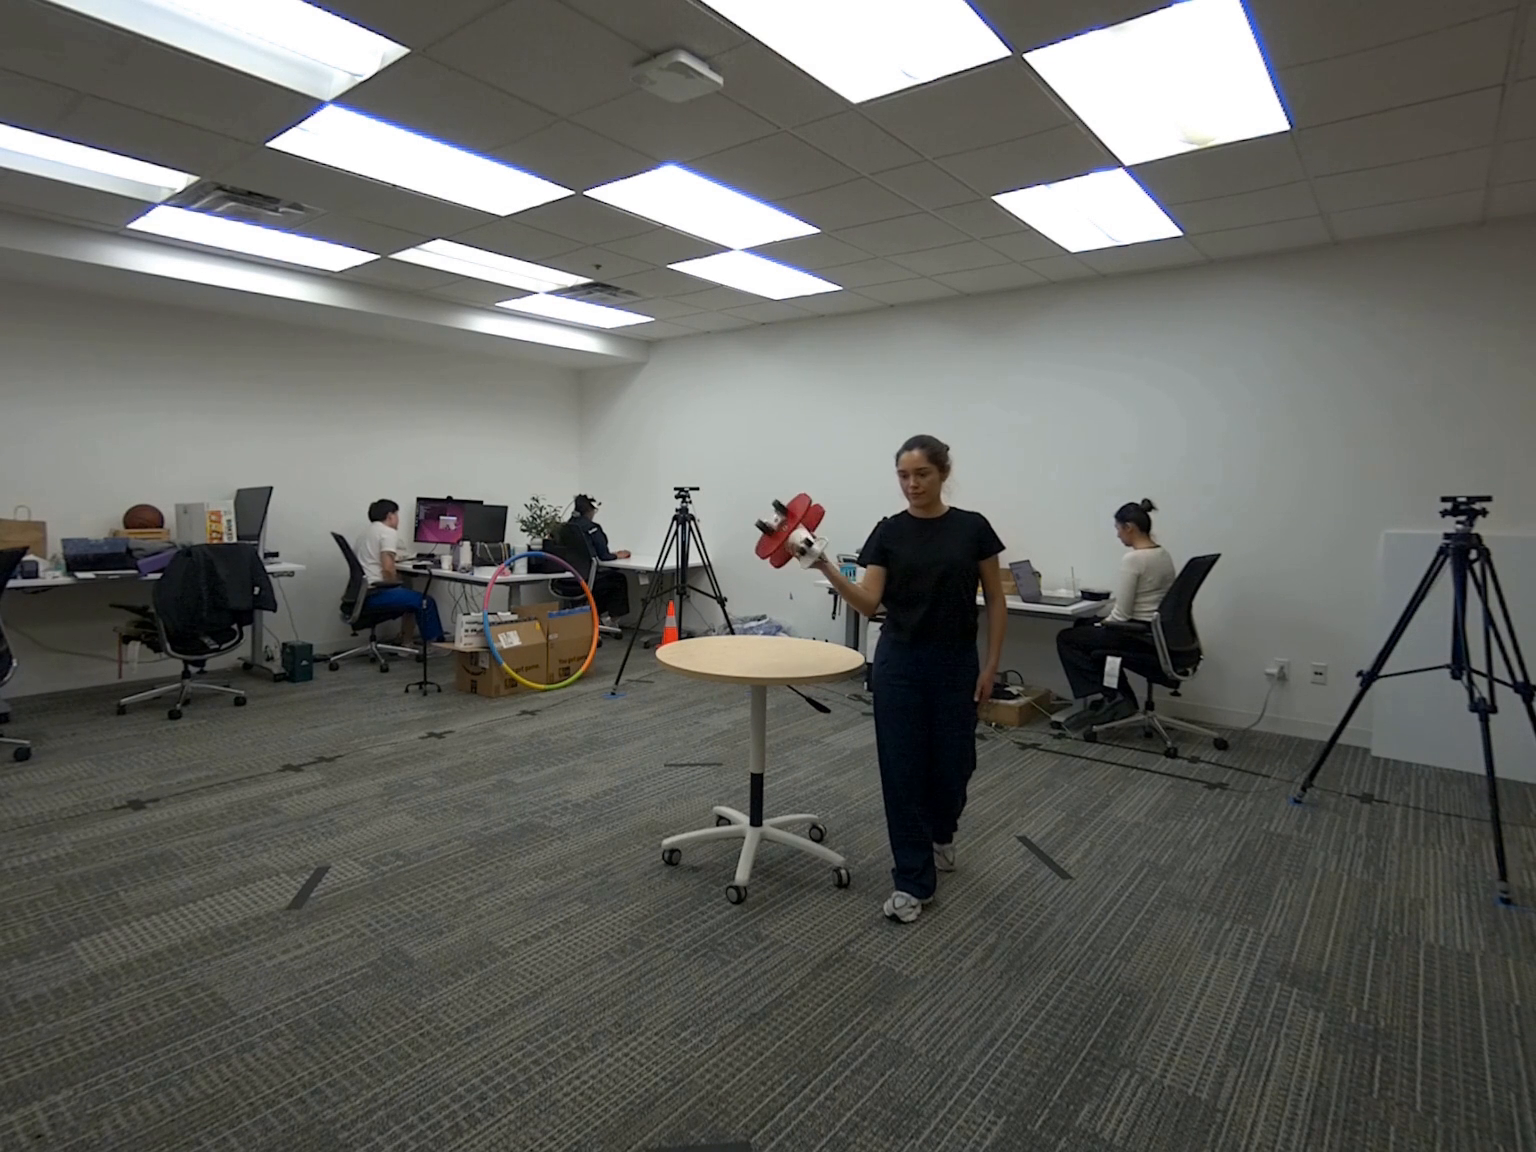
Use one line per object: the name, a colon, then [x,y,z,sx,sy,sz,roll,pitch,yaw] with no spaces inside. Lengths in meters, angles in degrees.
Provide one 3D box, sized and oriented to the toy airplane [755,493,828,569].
toy airplane: [0.100,-0.138,2.762,0.254,0.267,0.150,-26,-27,22]
